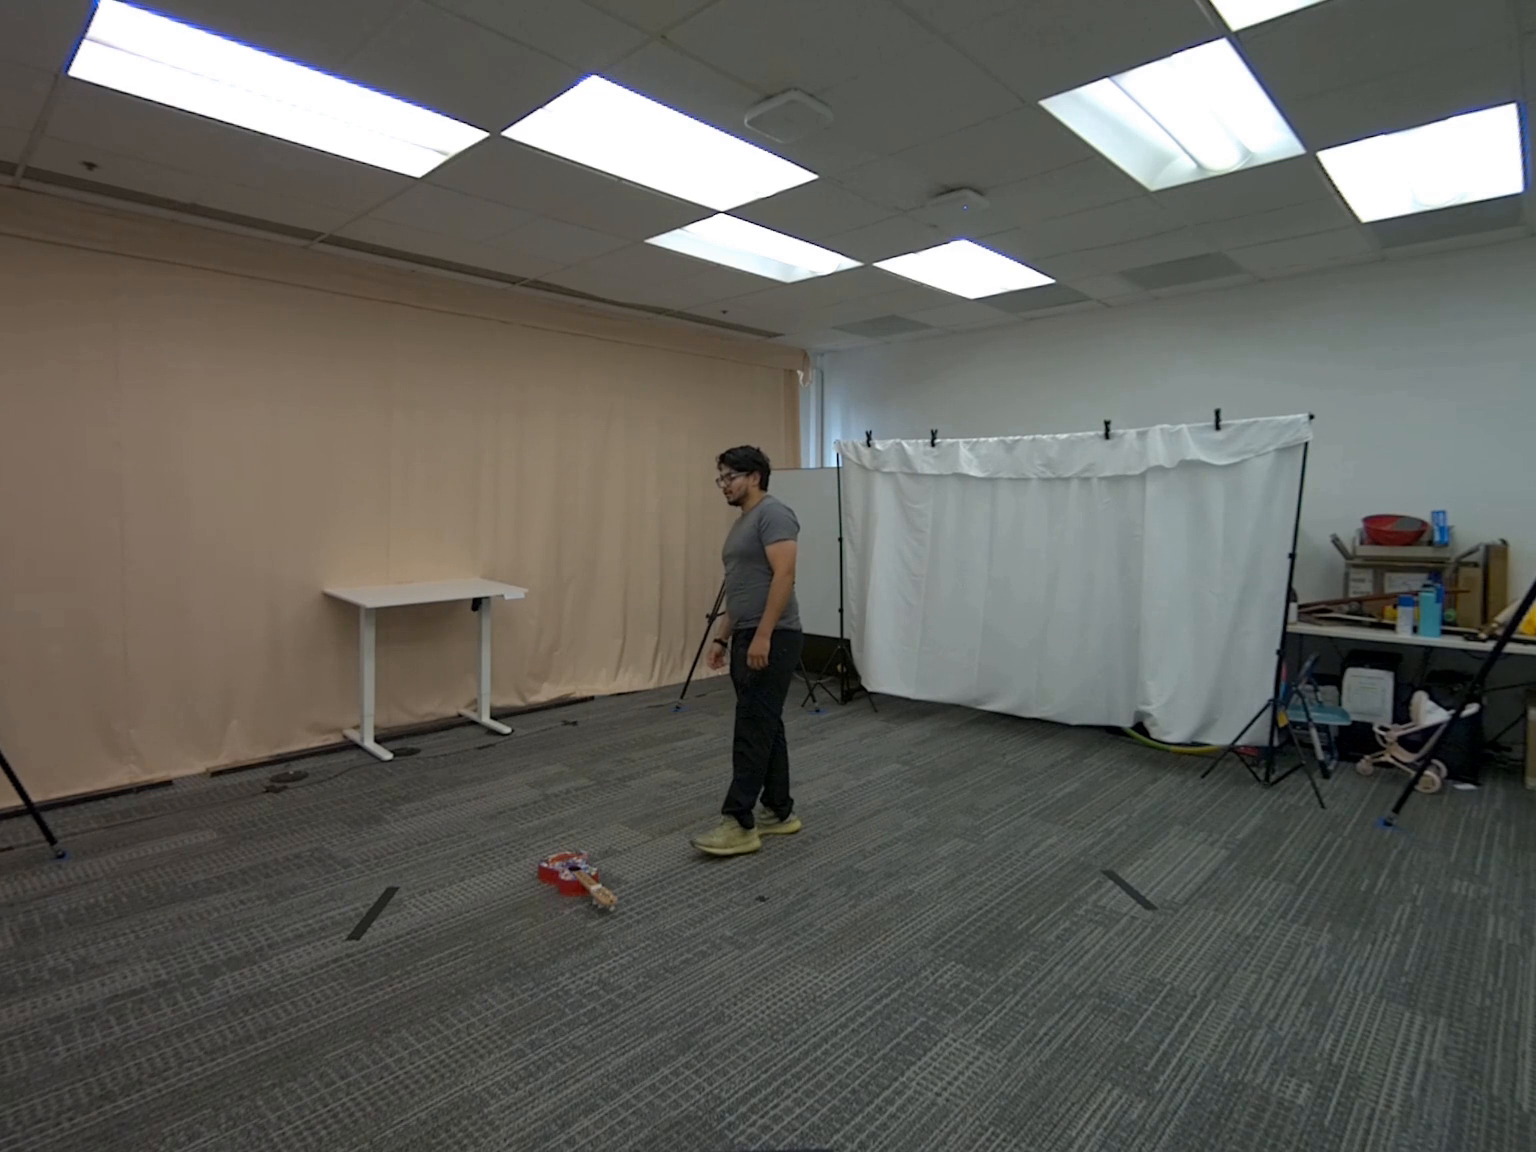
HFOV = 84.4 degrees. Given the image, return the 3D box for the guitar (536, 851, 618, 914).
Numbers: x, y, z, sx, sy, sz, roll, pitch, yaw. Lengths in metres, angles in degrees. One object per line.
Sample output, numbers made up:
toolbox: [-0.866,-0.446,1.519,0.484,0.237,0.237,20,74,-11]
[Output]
guitar: [-0.697,1.112,3.032,0.188,0.070,0.511,-2,4,-26]
